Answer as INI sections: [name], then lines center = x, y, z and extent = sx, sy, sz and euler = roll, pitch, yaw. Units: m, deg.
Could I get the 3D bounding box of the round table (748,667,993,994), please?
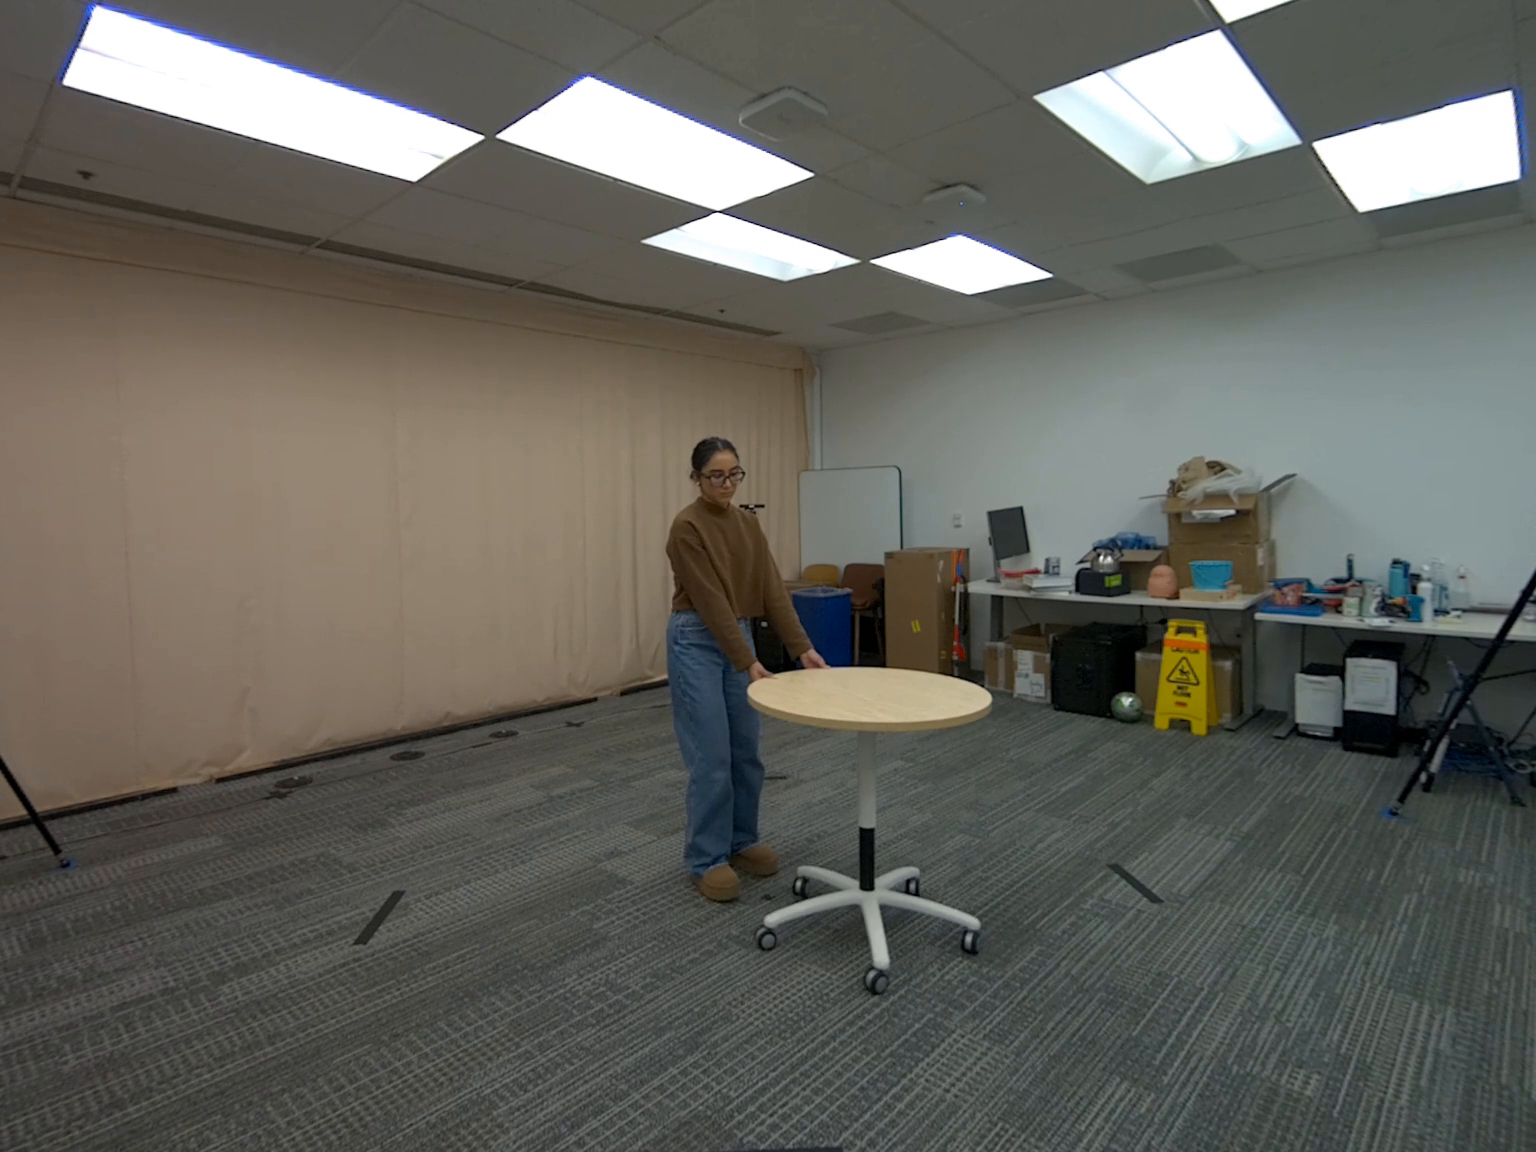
[round table]
center = 0.303, 0.761, 2.716
extent = 0.784, 0.785, 0.788
euler = 0, 4, -2
